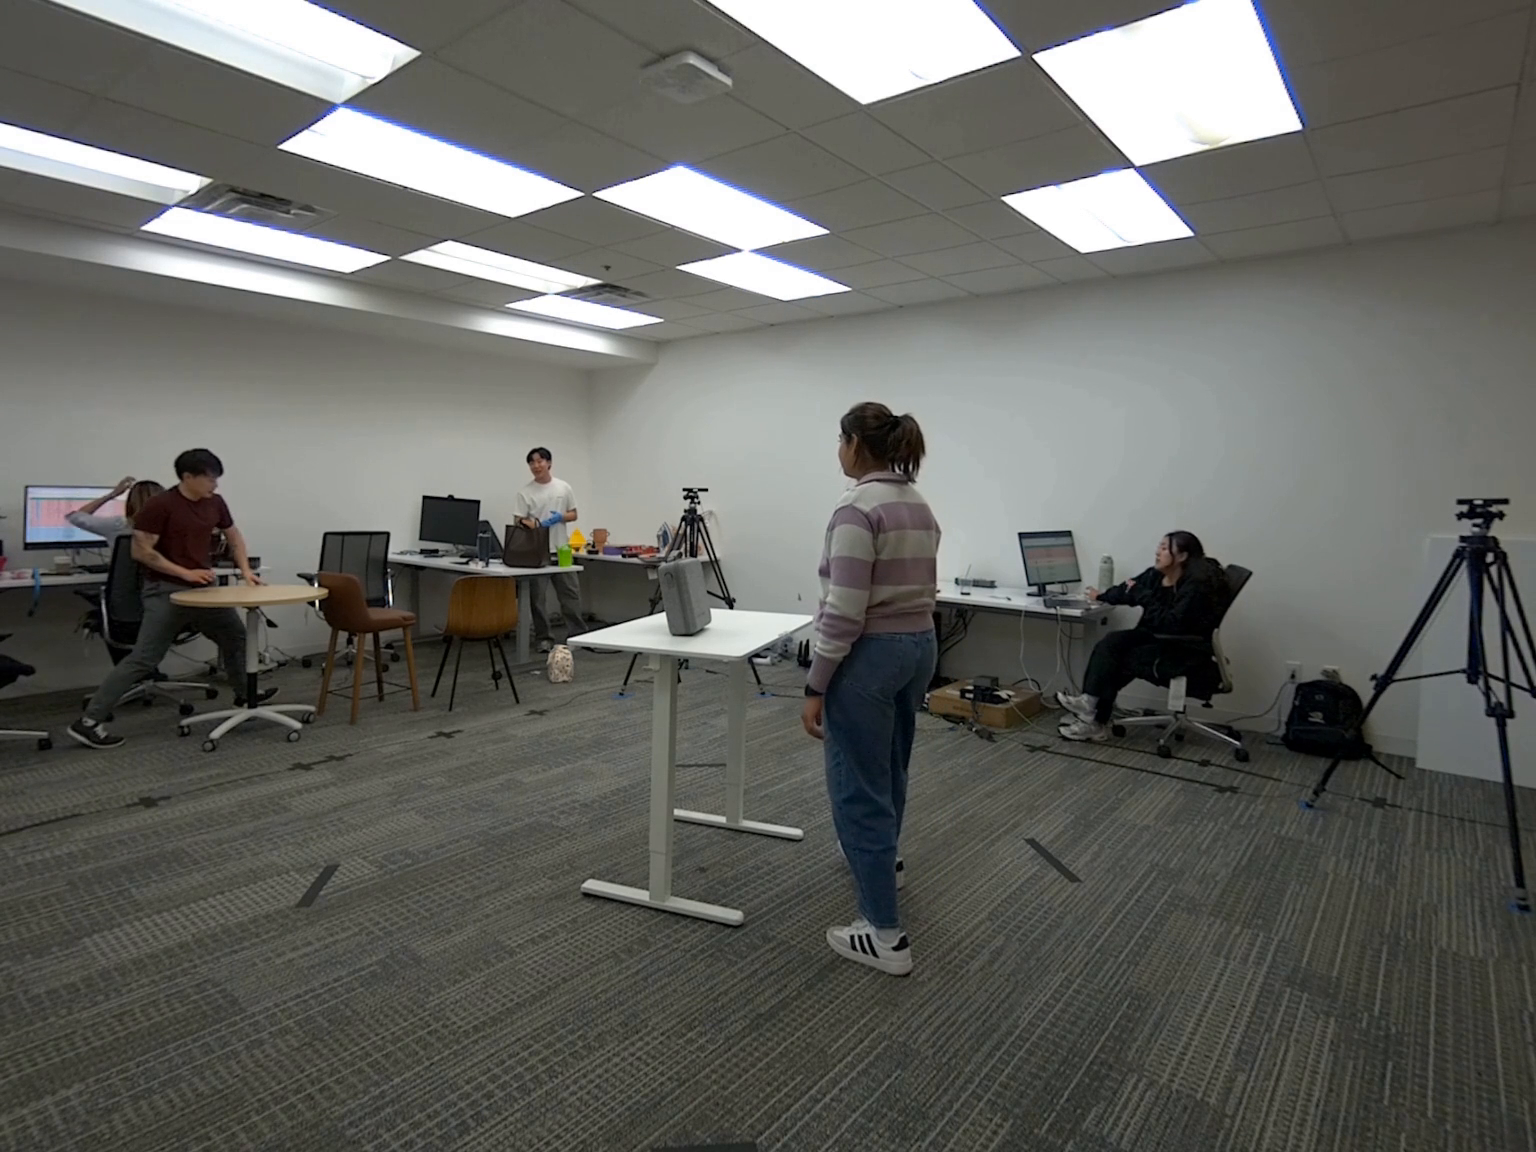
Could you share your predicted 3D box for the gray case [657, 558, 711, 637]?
[{"bbox_3d":[-0.300,0.063,2.999,0.105,0.261,0.254,-8,0,10],"label":"gray case"}]
